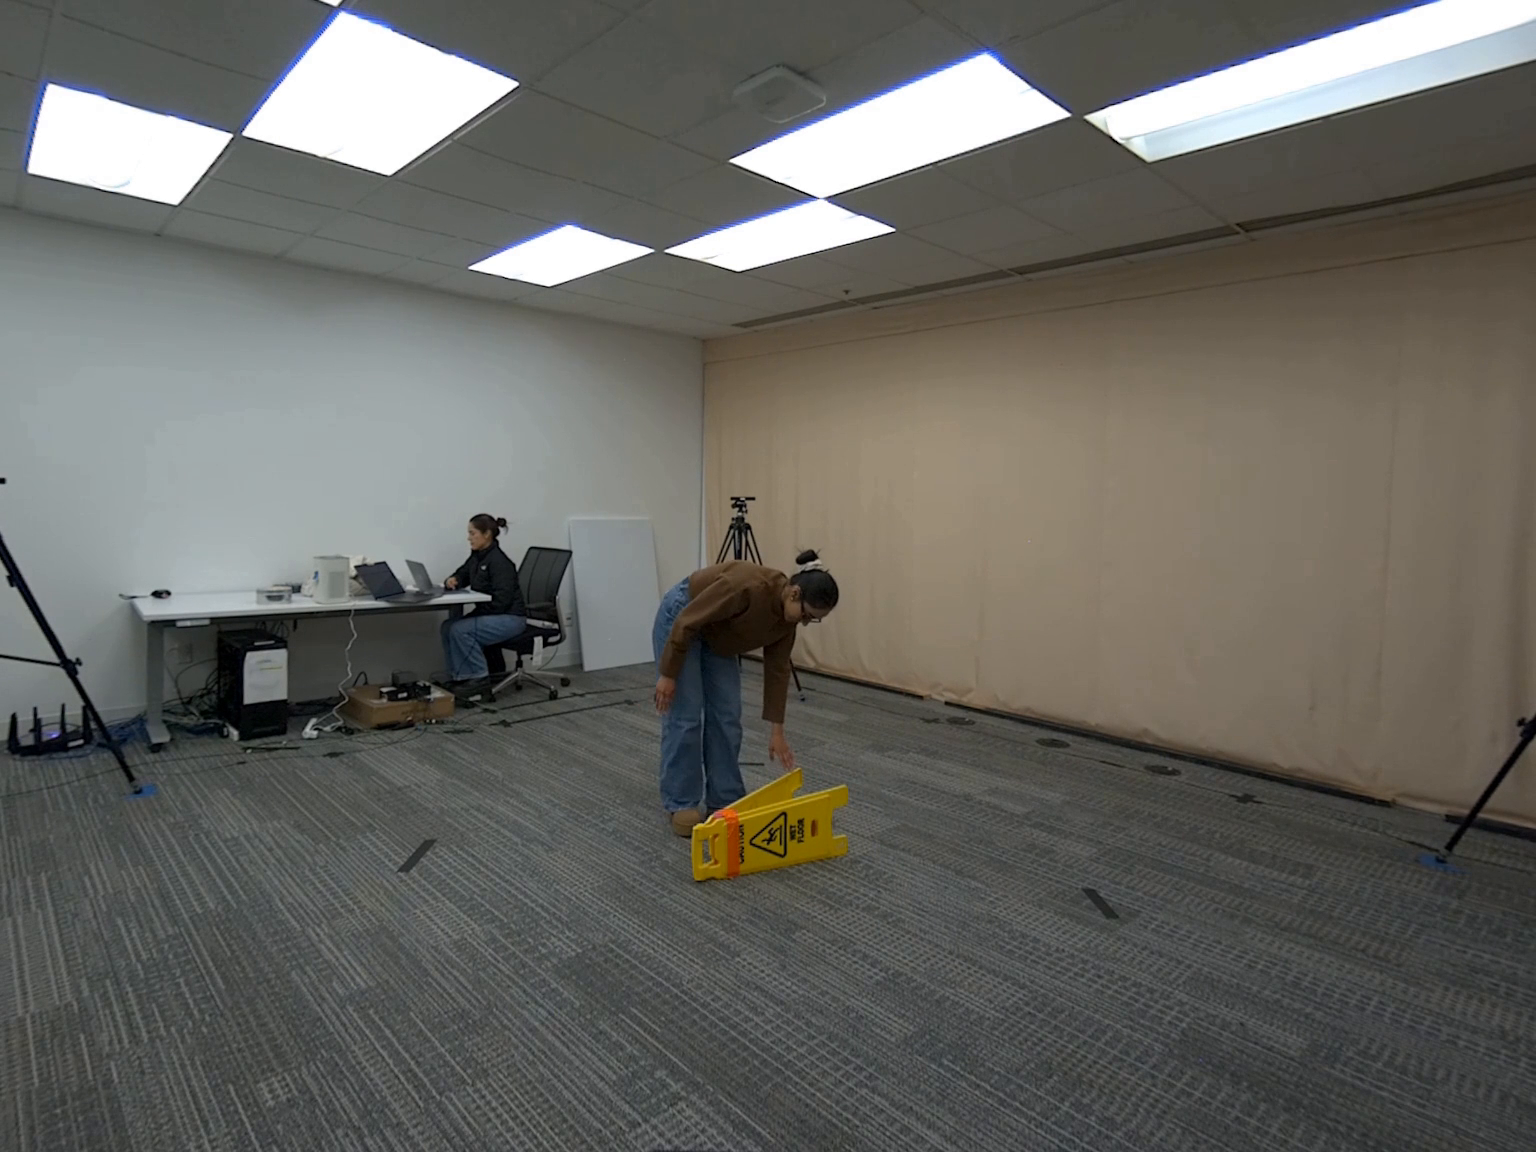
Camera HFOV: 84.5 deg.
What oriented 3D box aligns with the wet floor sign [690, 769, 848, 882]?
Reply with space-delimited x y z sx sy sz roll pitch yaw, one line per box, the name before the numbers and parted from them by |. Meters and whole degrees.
wet floor sign | -0.021 0.974 3.220 0.632 0.281 0.297 -6 7 -38
